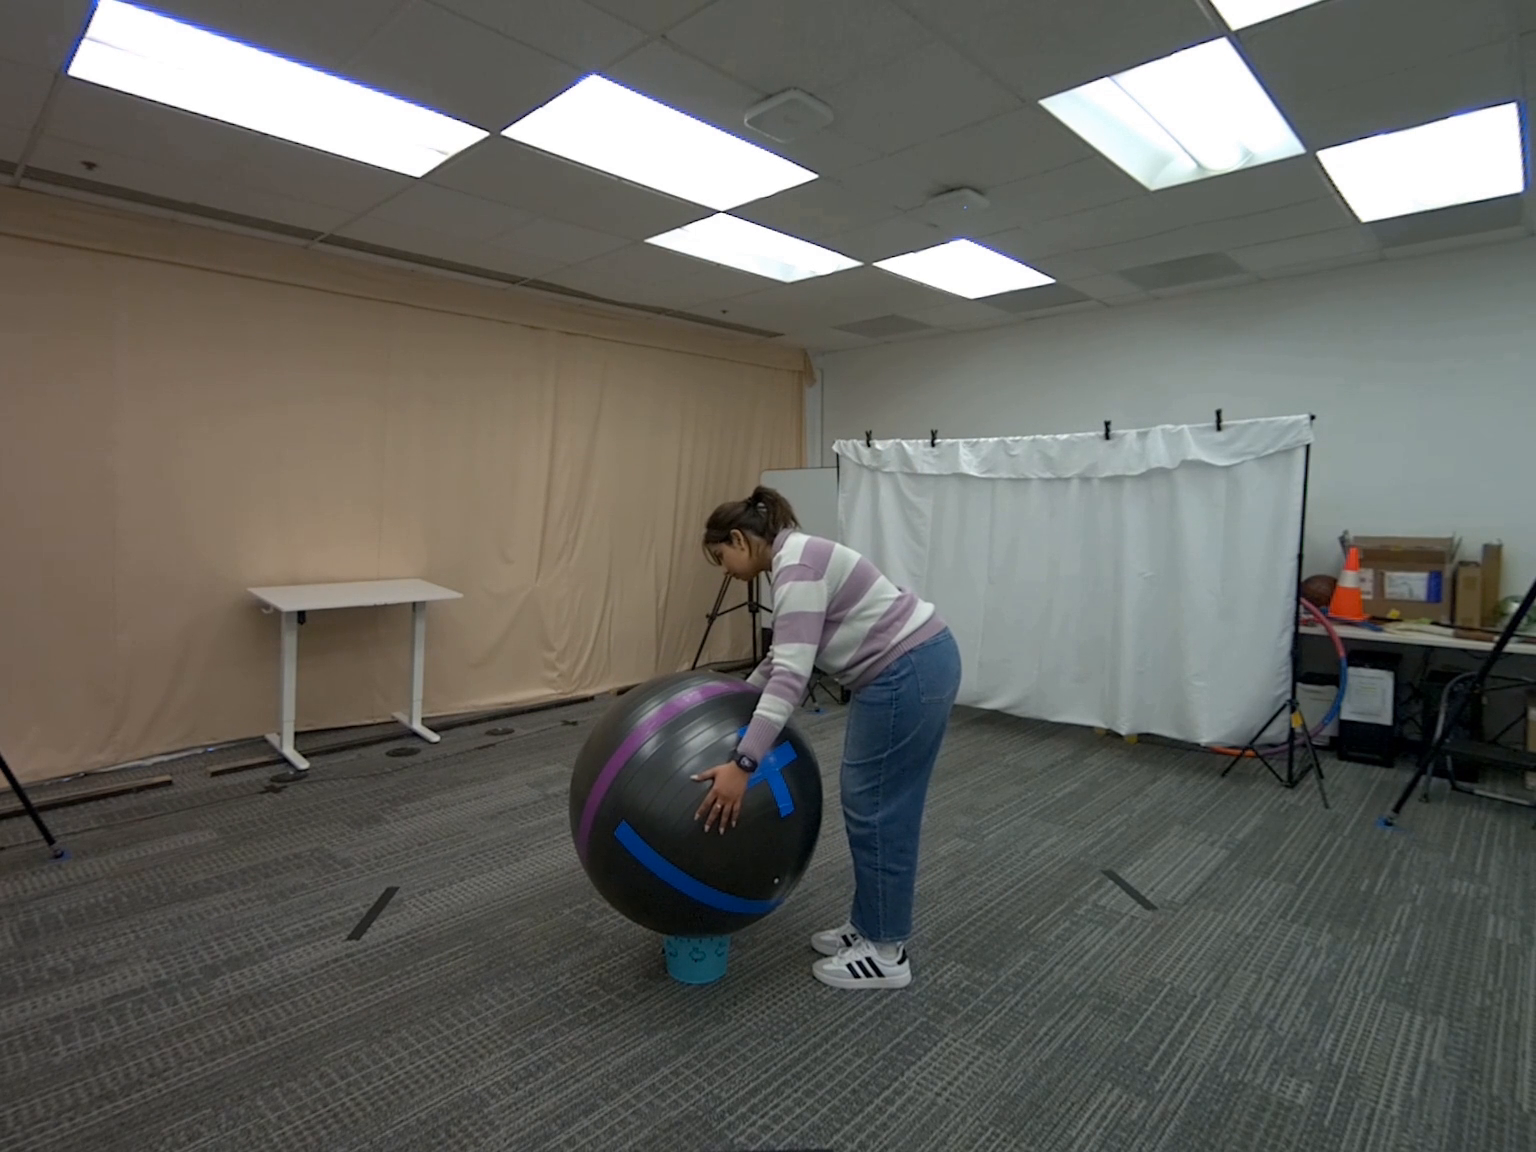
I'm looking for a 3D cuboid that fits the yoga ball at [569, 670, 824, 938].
[{"bbox_3d":[-0.215,0.672,2.523,0.757,0.756,0.761,0,4,-2],"label":"yoga ball"}]
